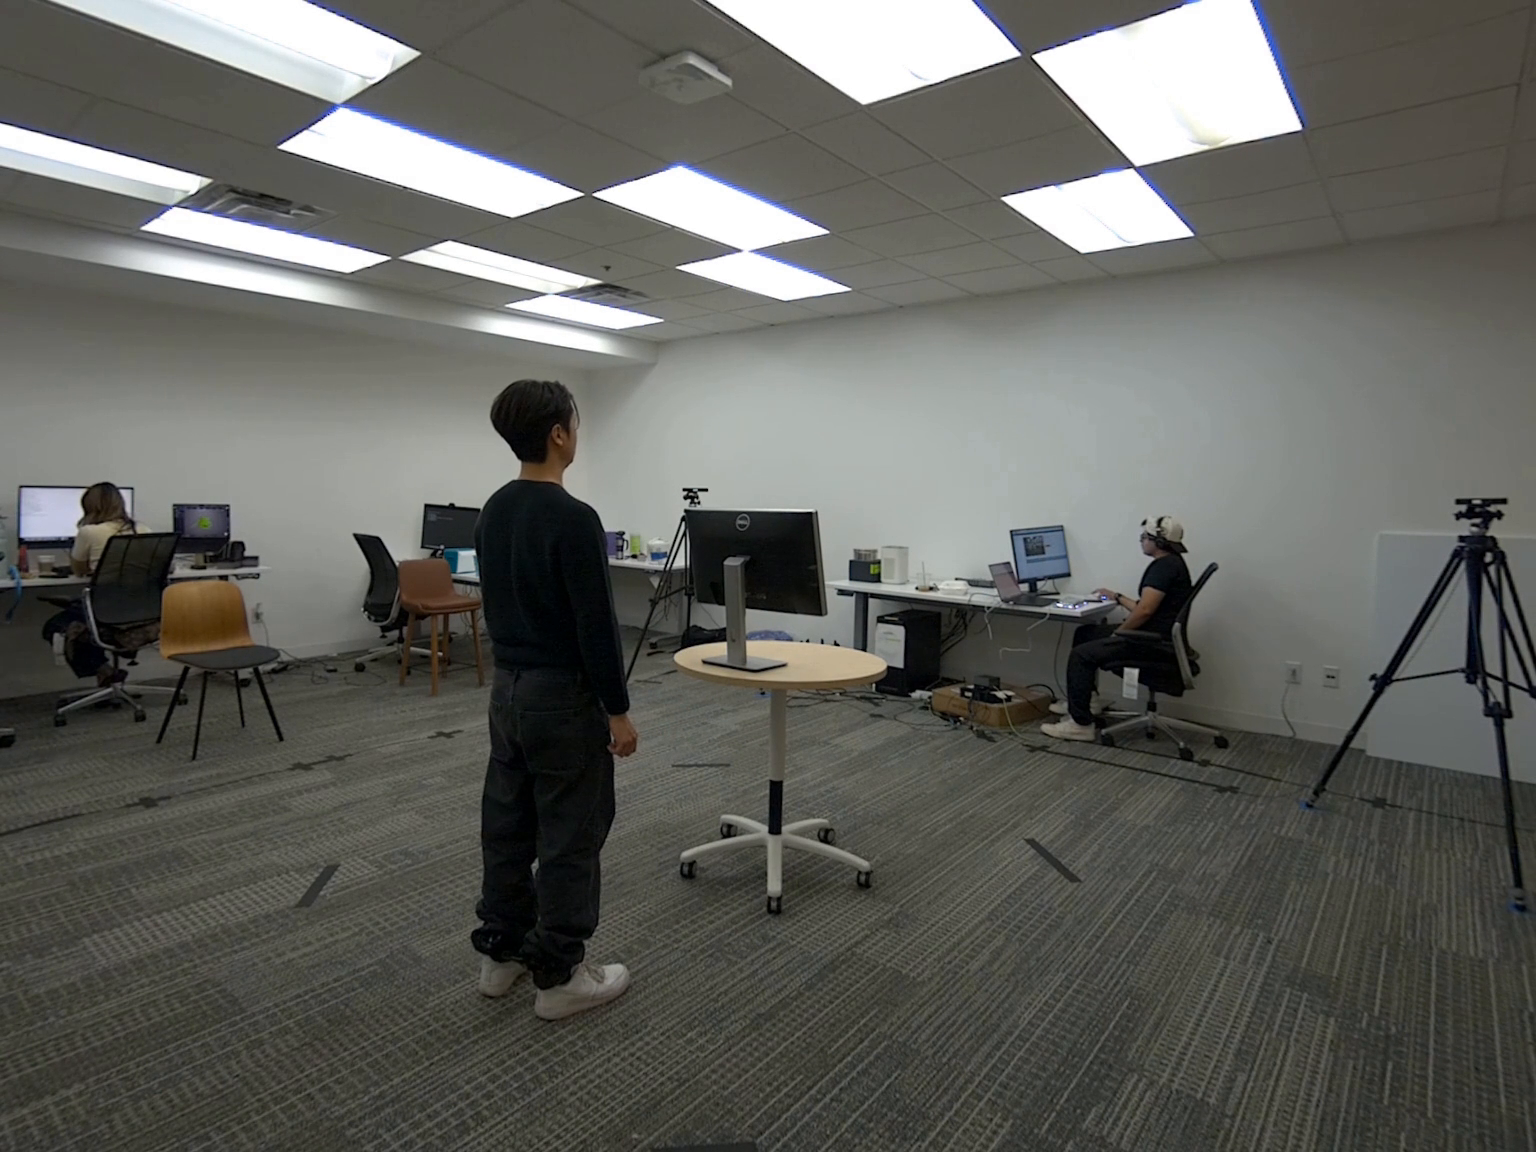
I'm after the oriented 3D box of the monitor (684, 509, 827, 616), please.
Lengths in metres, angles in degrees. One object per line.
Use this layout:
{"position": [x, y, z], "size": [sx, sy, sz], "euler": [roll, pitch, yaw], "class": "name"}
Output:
{"position": [-0.087, 0.038, 2.960], "size": [0.556, 0.522, 0.181], "euler": [4, 2, 35], "class": "monitor"}
